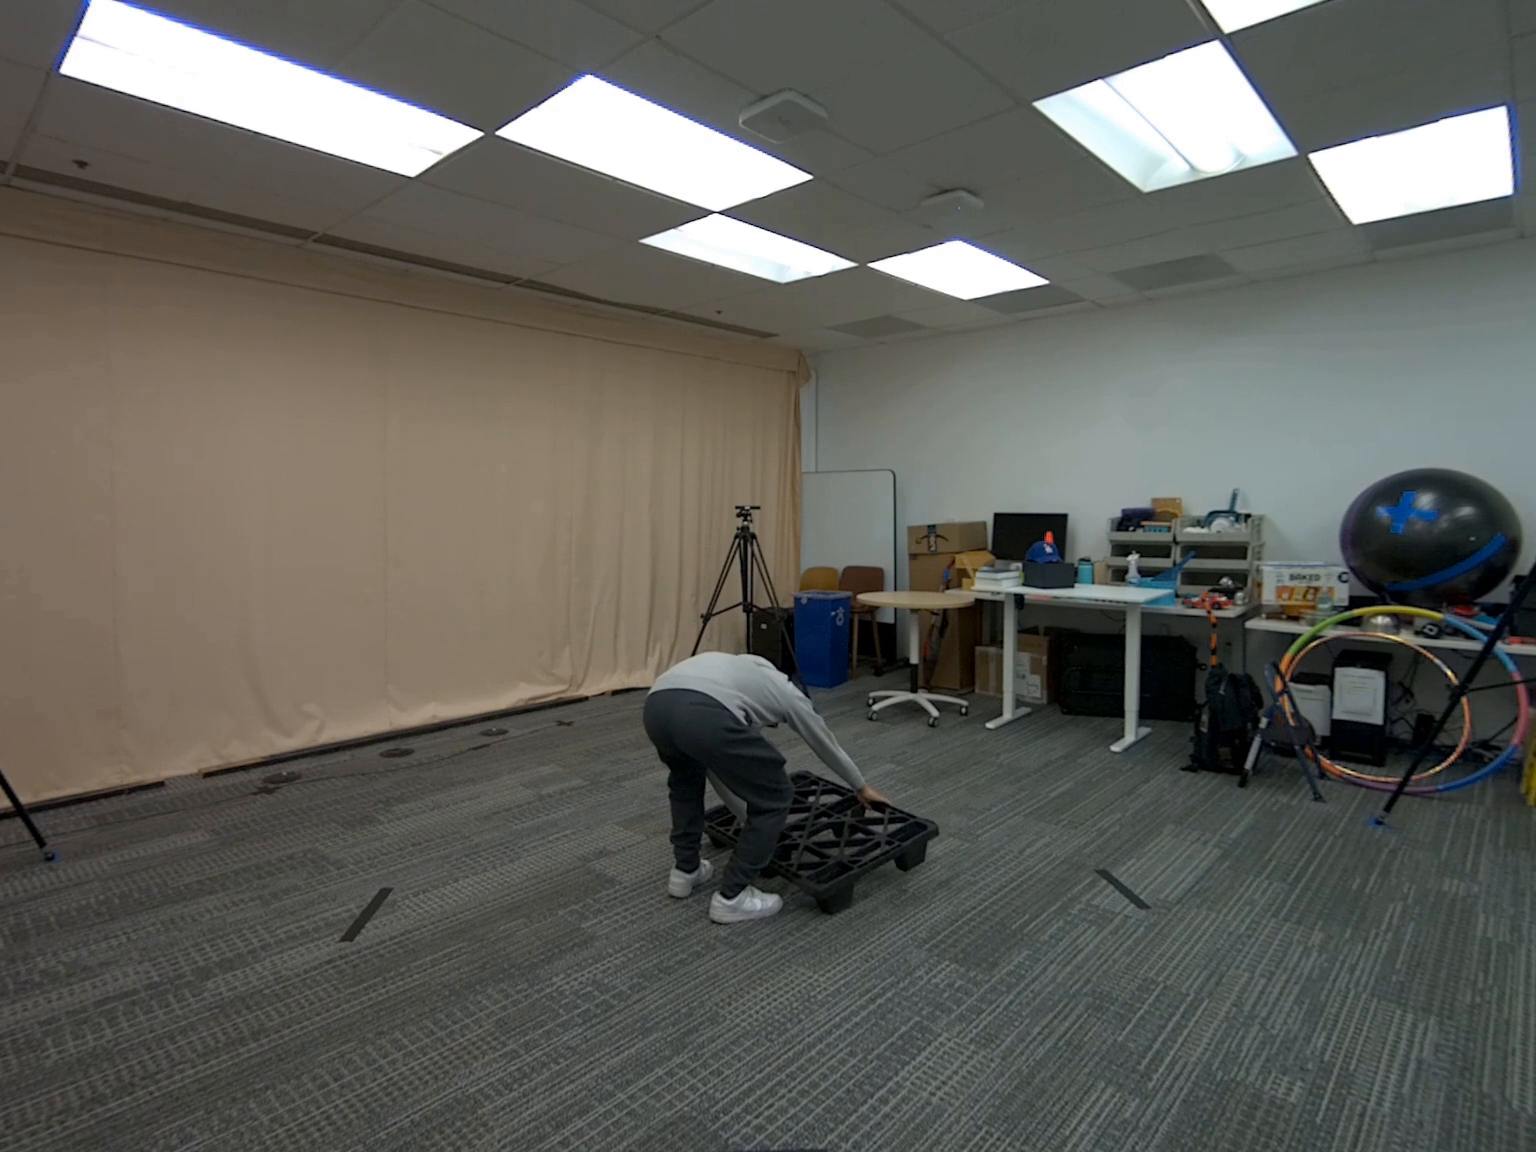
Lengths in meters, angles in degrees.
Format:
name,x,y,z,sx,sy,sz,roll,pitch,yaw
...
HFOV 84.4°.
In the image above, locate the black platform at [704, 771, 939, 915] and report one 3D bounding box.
name,x,y,z,sx,sy,sz,roll,pitch,yaw
black platform,0.173,1.018,3.280,0.591,0.142,0.831,-16,13,-34
